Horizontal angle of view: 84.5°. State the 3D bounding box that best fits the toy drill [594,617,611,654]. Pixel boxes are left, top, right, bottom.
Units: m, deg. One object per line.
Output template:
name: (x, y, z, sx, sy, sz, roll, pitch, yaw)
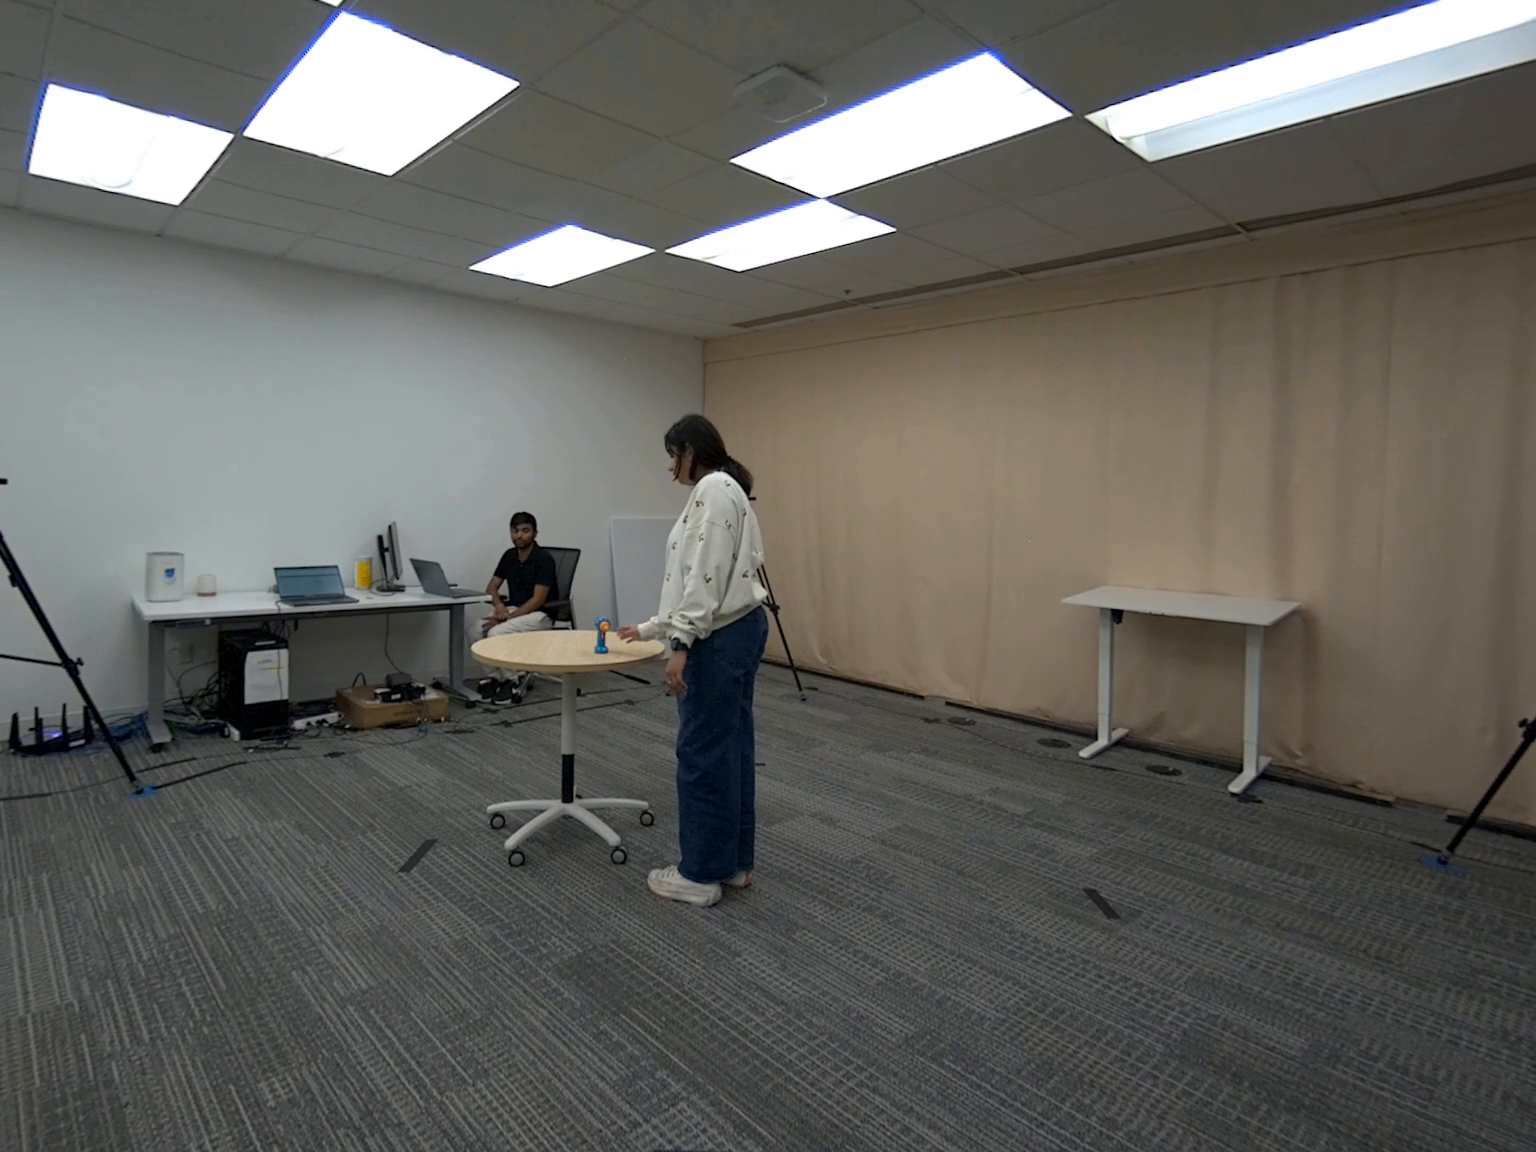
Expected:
toy drill: (-0.641, 0.227, 3.243, 0.060, 0.146, 0.173, 0, 4, -20)
